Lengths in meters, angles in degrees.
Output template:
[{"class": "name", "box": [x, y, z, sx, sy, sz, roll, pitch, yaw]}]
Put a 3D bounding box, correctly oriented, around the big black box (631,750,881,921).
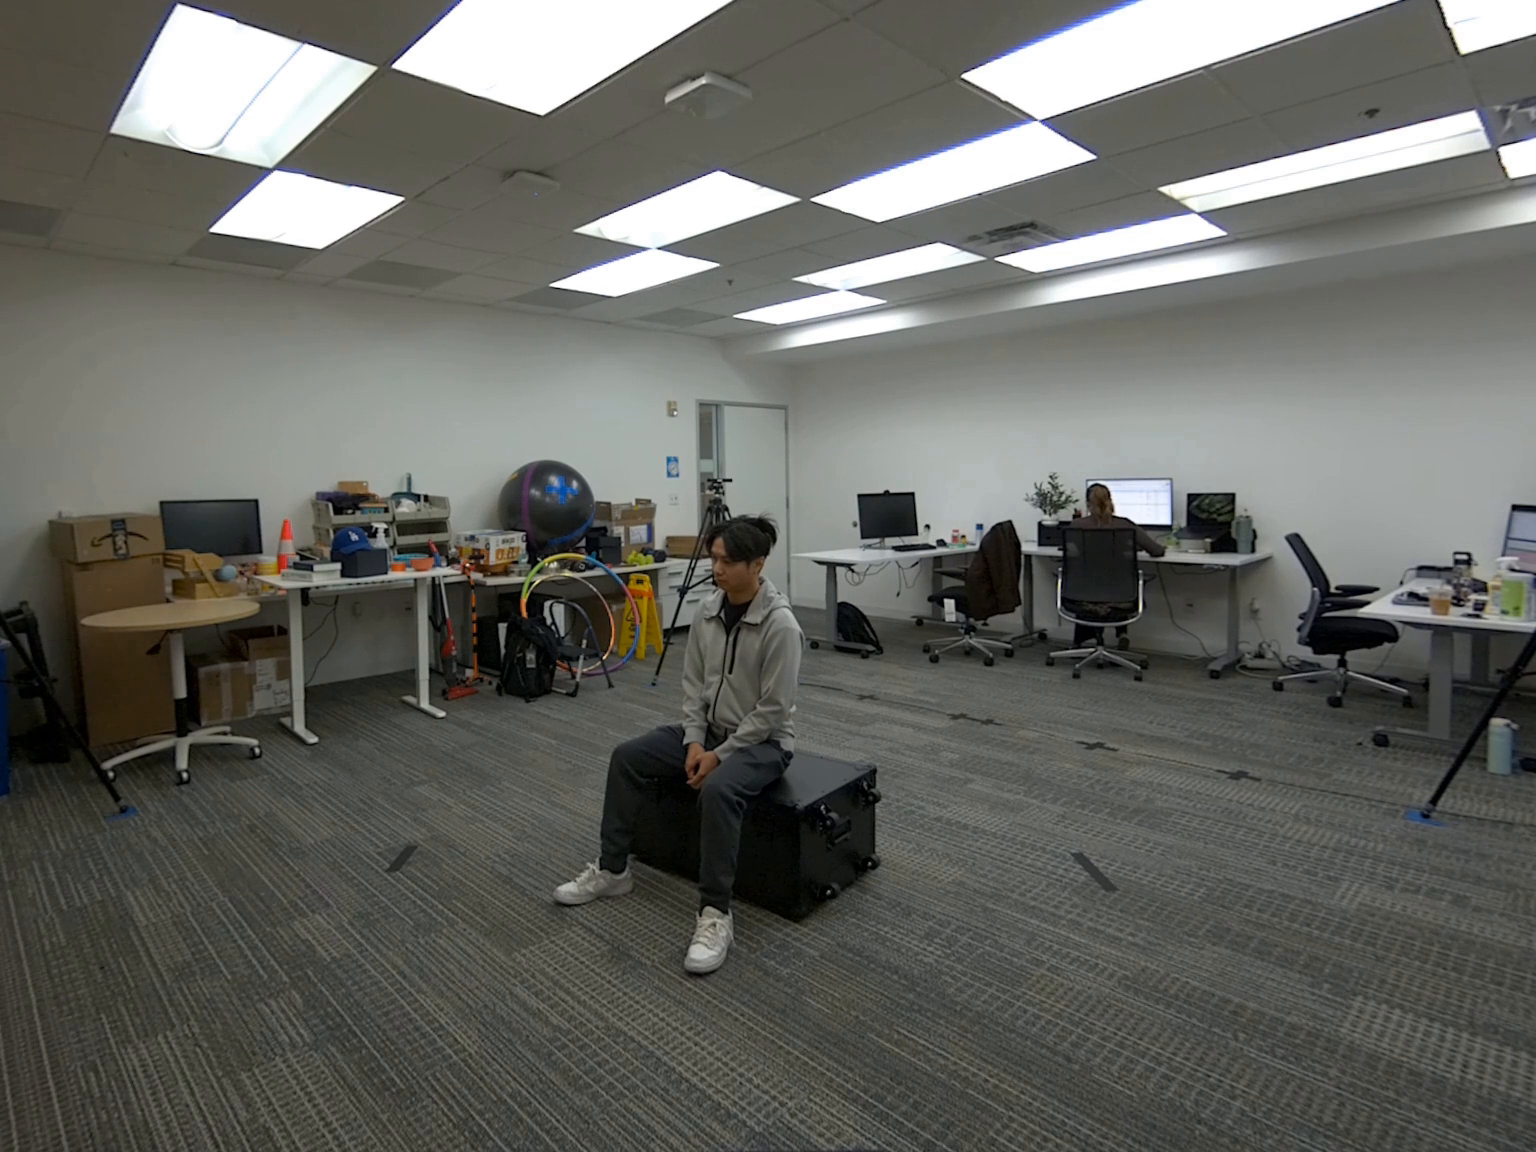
[{"class": "big black box", "box": [-0.089, 0.861, 3.116, 0.887, 0.394, 0.508, 4, 7, 38]}]
